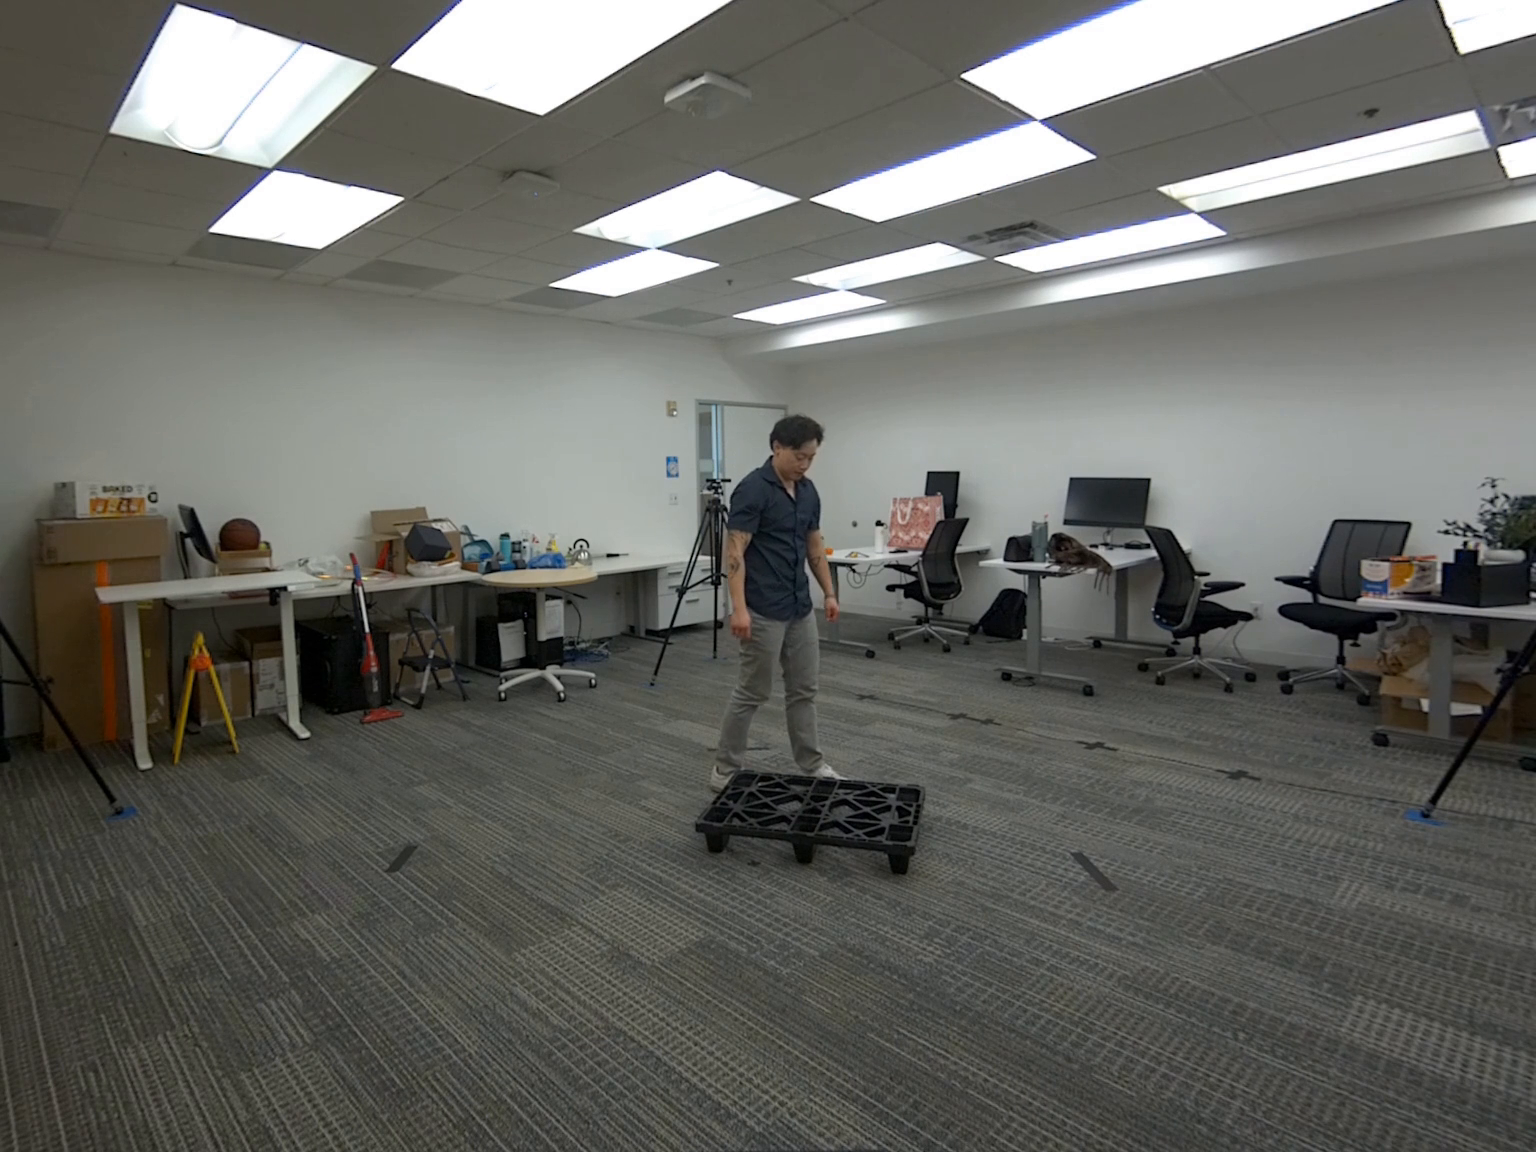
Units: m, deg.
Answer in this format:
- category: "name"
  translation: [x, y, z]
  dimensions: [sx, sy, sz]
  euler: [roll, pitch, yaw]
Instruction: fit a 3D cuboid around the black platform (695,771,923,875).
- category: "black platform"
  translation: [0.182, 0.948, 3.324]
  dimensions: [0.818, 0.143, 0.598]
  euler: [1, 6, 16]
